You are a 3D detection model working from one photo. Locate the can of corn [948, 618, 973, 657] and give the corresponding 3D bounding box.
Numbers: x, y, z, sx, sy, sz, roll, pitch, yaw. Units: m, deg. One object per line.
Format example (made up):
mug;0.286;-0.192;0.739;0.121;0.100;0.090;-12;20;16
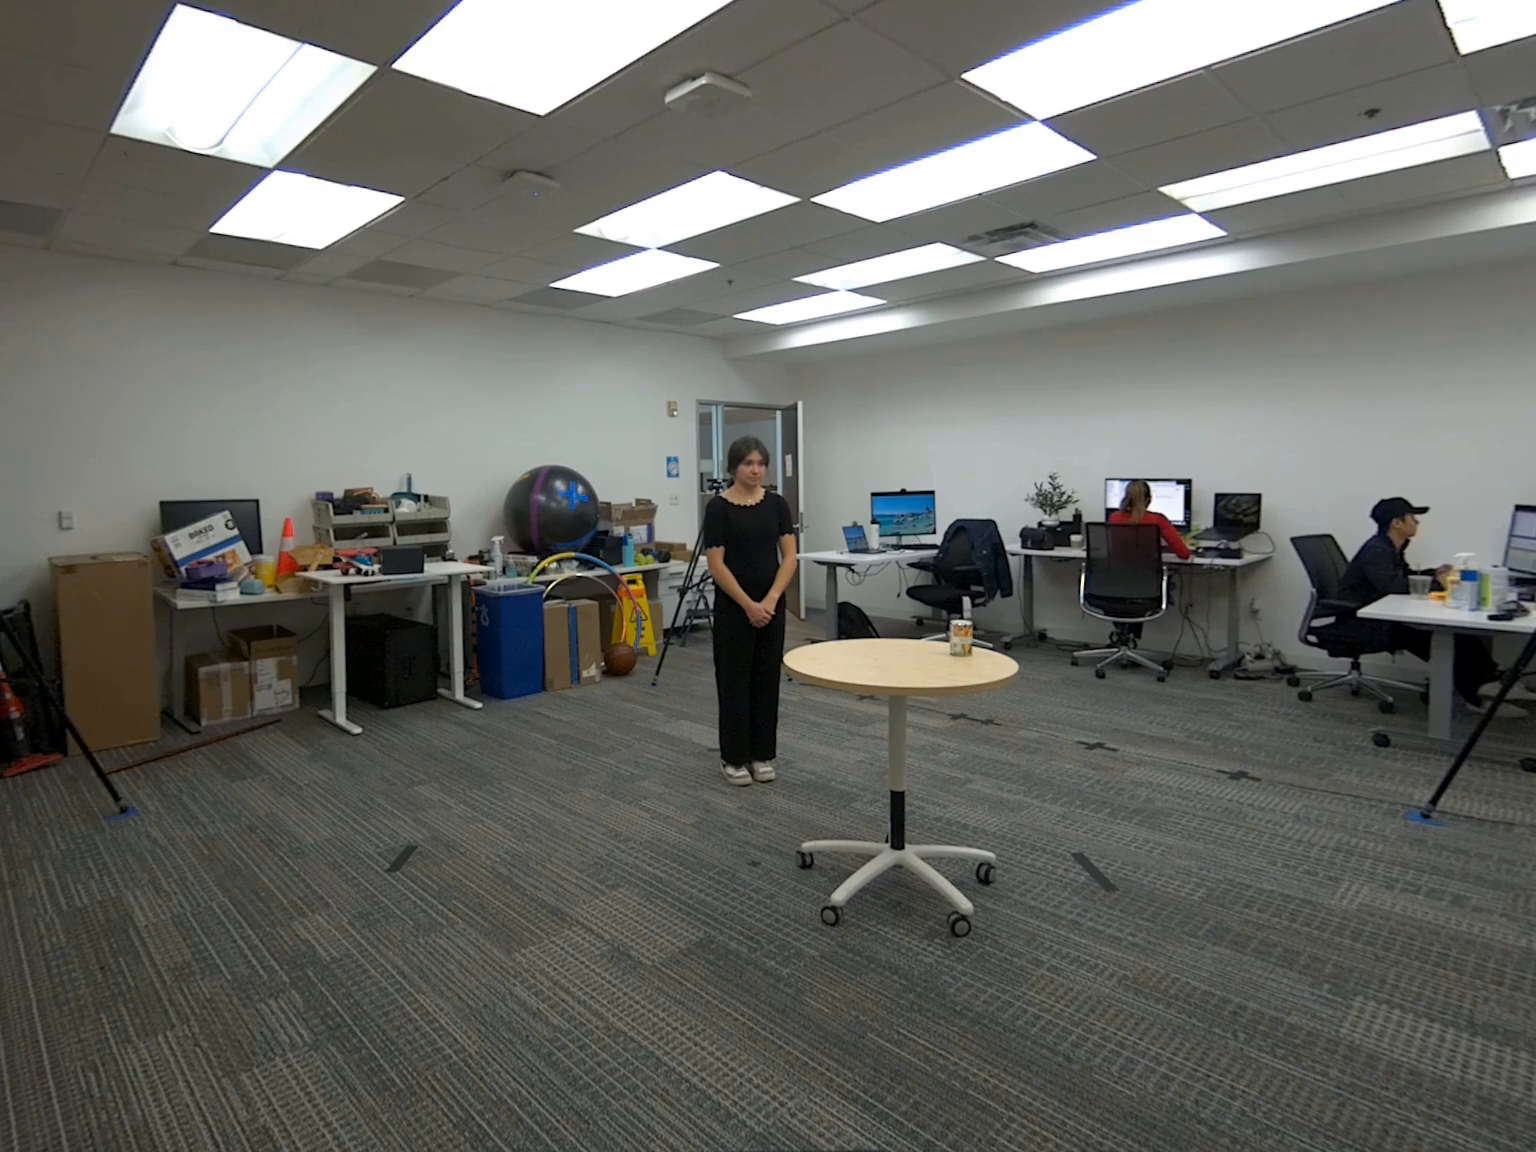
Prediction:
can of corn;0.663;0.215;2.935;0.074;0.110;0.074;1;5;-2
